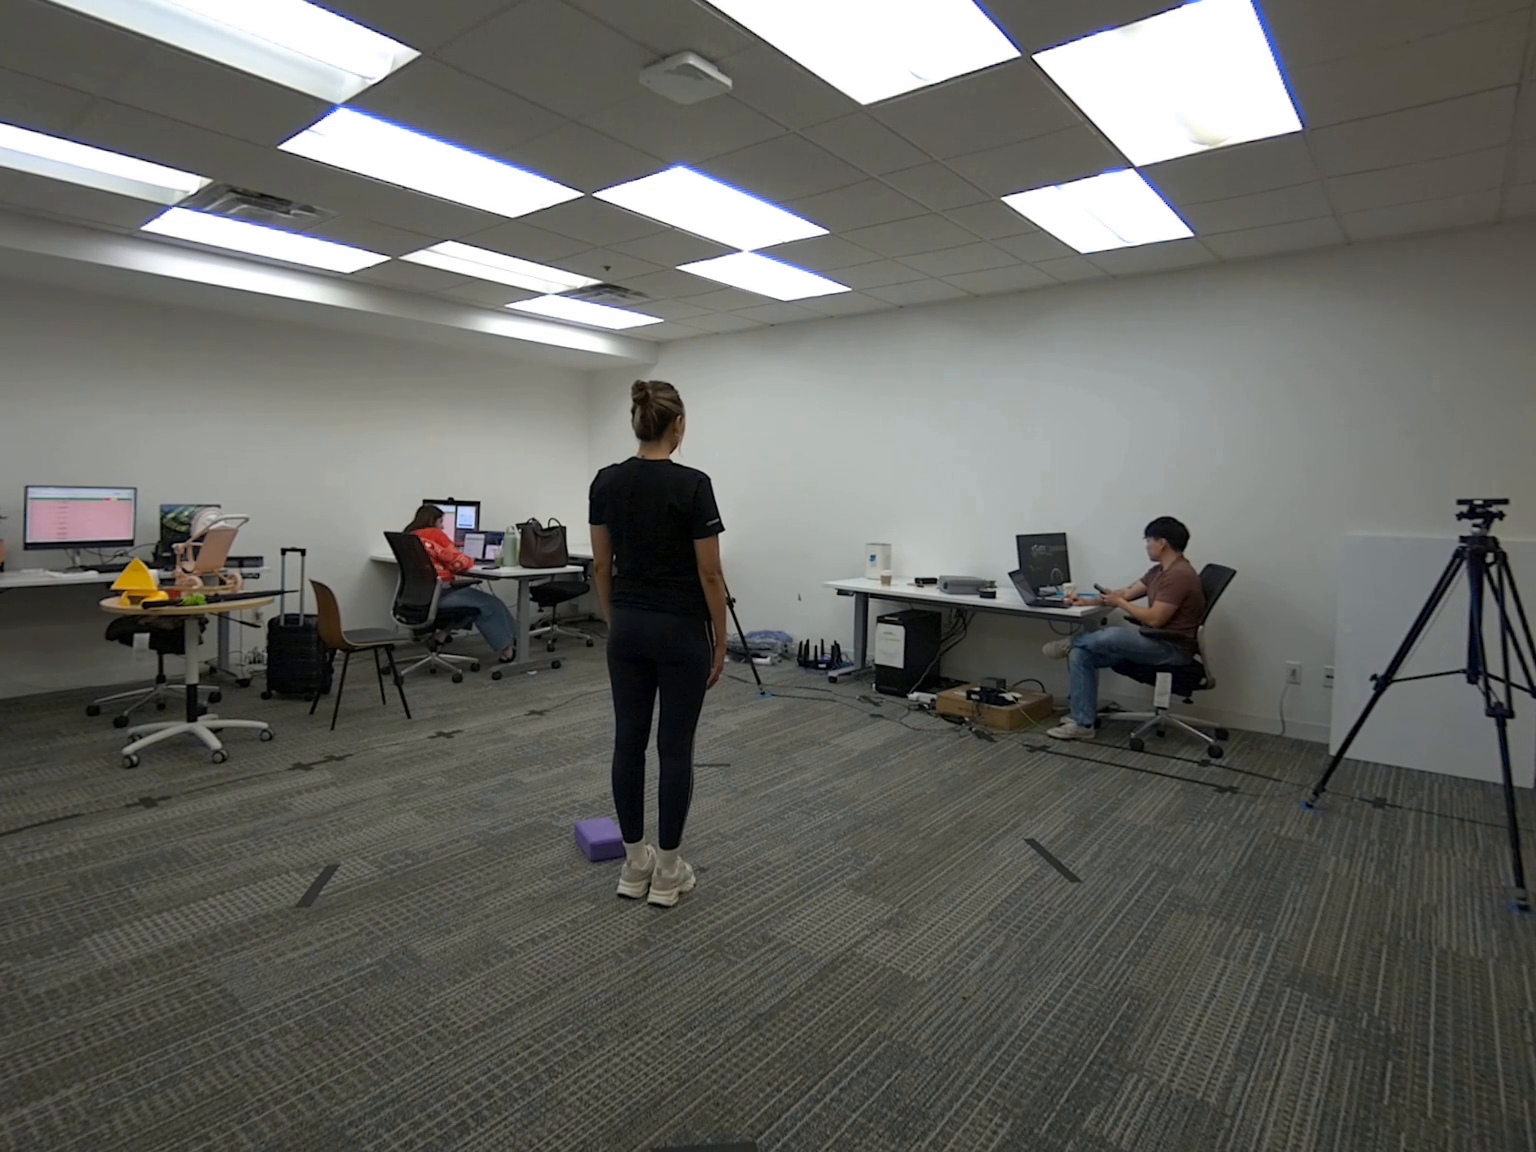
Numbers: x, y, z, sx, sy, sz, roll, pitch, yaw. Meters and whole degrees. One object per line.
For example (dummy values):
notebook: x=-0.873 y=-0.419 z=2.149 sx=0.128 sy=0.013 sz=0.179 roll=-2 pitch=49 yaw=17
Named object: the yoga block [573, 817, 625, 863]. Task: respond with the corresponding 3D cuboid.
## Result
yoga block: x=-0.657 y=1.007 z=3.268 sx=0.145 sy=0.076 sz=0.236 roll=-1 pitch=6 yaw=-28
